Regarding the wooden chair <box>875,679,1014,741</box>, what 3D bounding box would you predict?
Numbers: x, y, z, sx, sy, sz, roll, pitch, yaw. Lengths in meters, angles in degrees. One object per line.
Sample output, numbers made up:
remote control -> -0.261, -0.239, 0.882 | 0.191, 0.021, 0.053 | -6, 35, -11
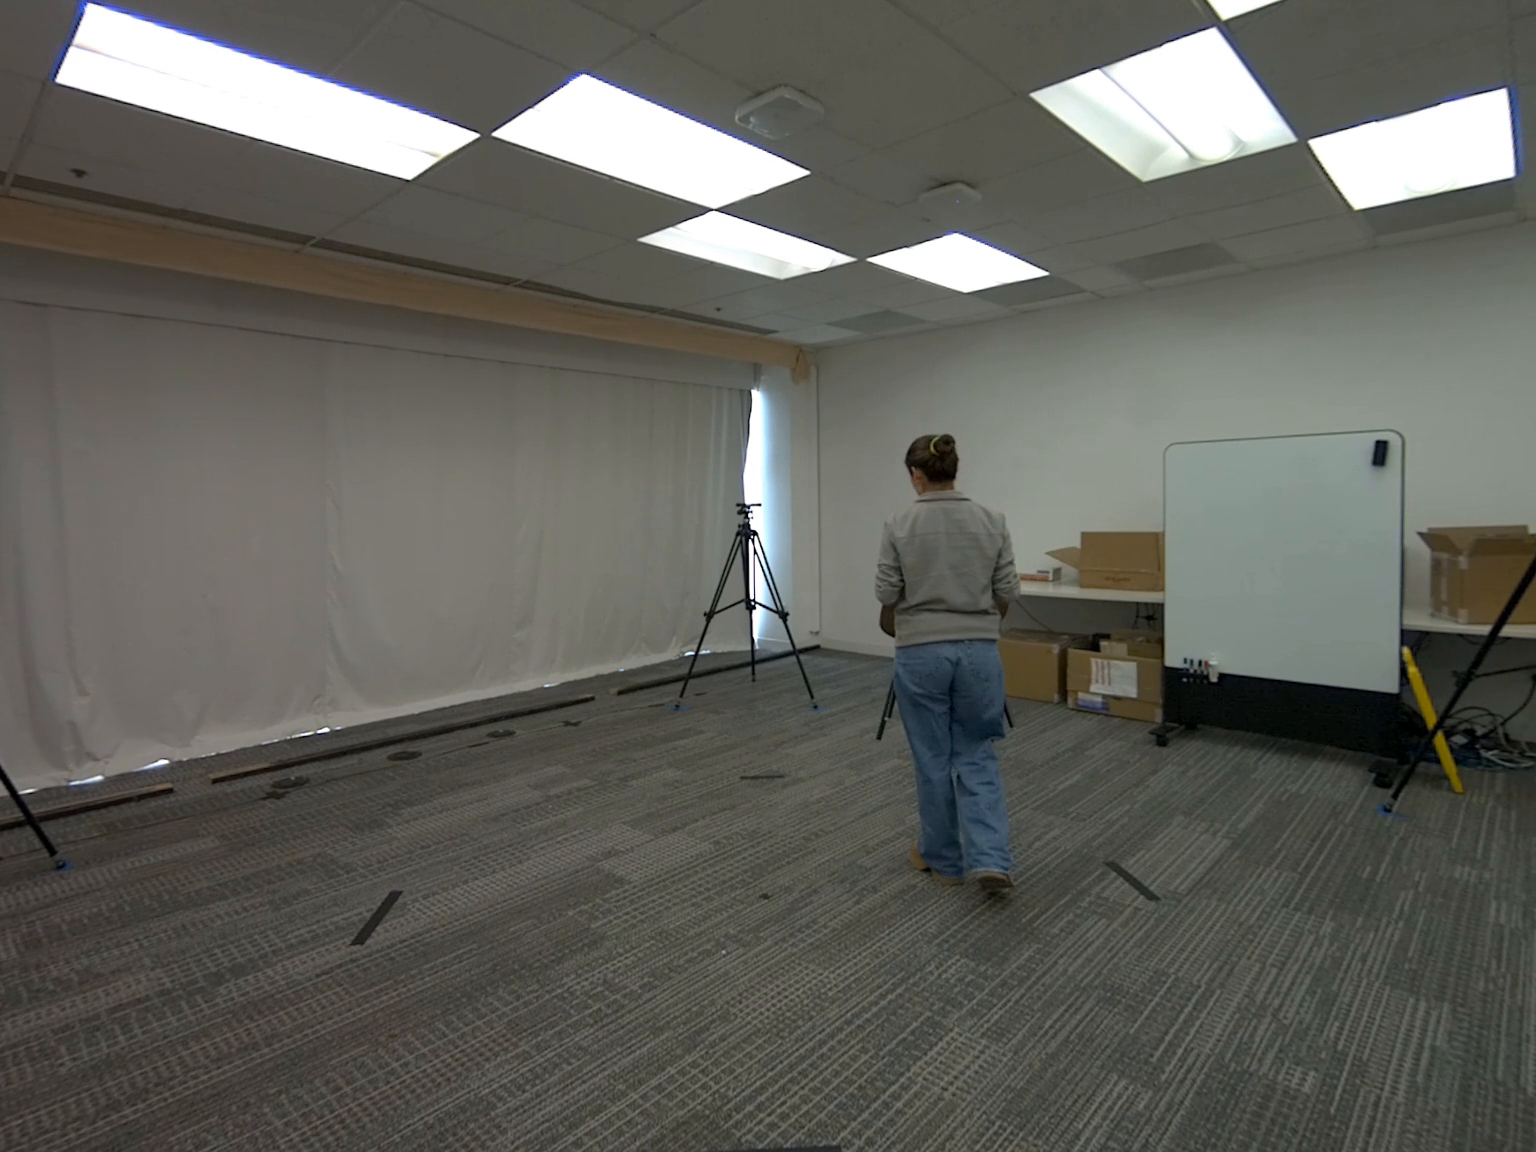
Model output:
wooden chair -> 0.692, 0.207, 3.322 | 0.482, 0.886, 0.514 | 1, -18, 6
